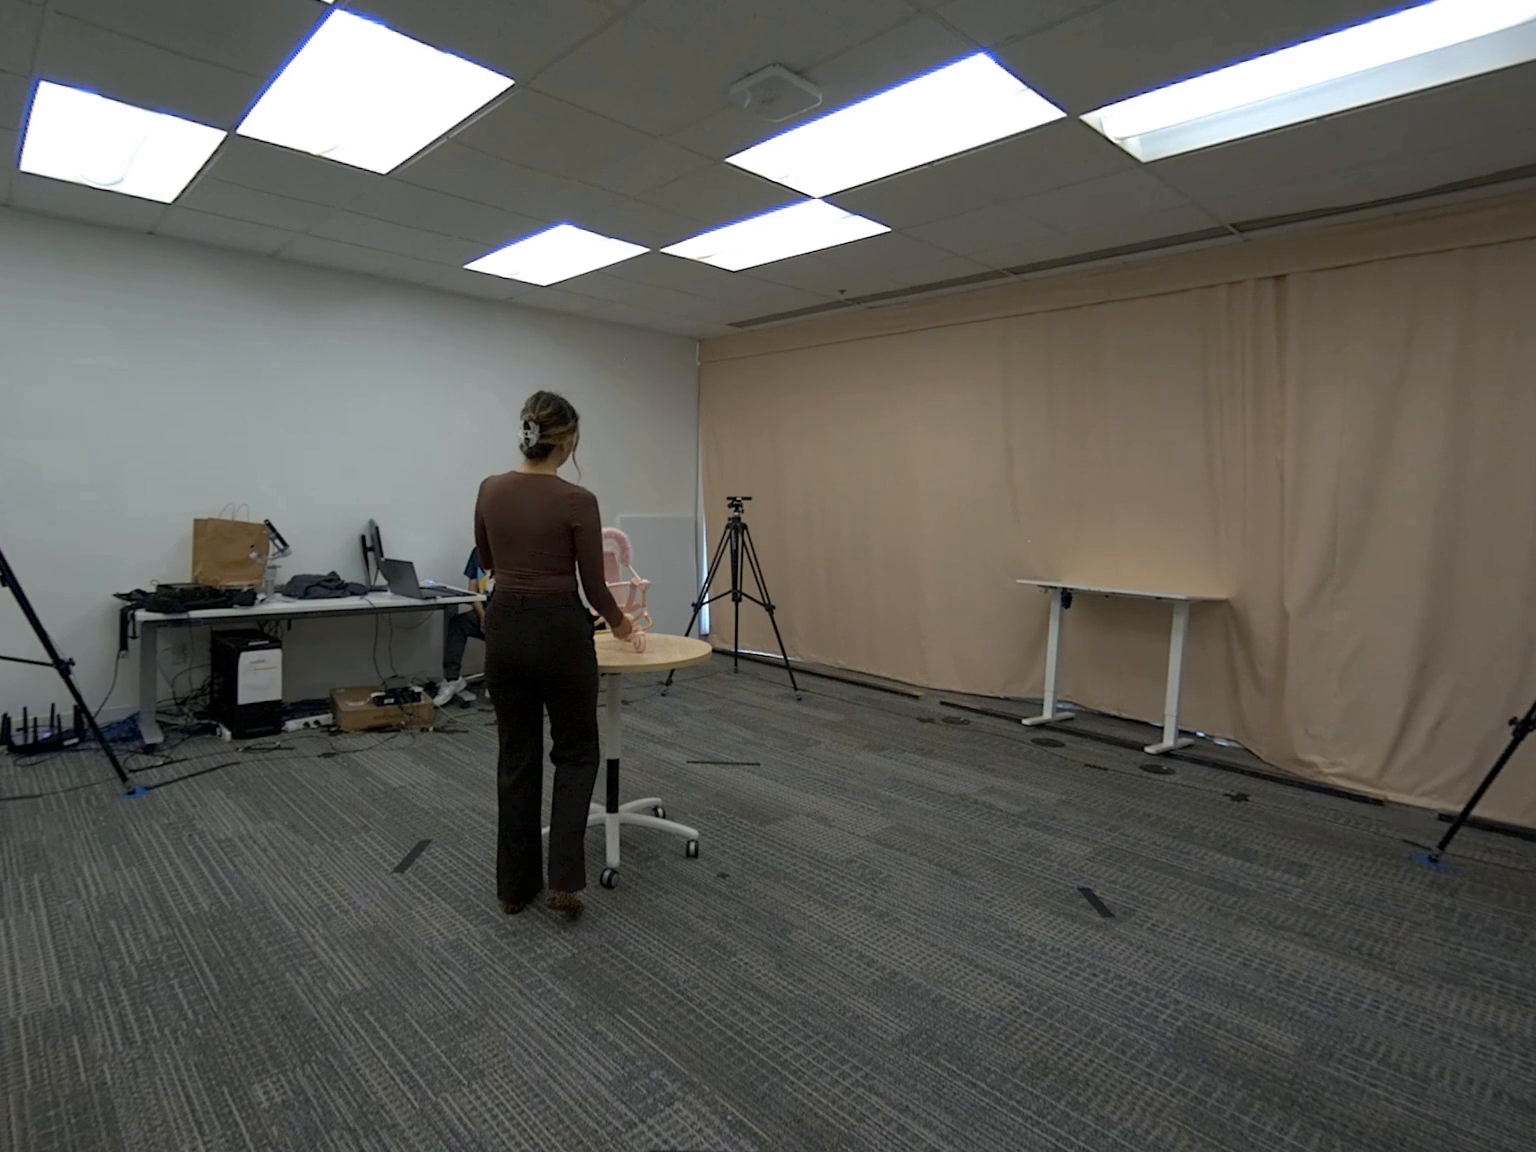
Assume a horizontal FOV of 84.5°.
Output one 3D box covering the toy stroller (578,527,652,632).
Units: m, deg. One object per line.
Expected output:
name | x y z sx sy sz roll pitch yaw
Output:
toy stroller | -0.626 0.052 3.326 0.275 0.539 0.347 -2 -10 -39
